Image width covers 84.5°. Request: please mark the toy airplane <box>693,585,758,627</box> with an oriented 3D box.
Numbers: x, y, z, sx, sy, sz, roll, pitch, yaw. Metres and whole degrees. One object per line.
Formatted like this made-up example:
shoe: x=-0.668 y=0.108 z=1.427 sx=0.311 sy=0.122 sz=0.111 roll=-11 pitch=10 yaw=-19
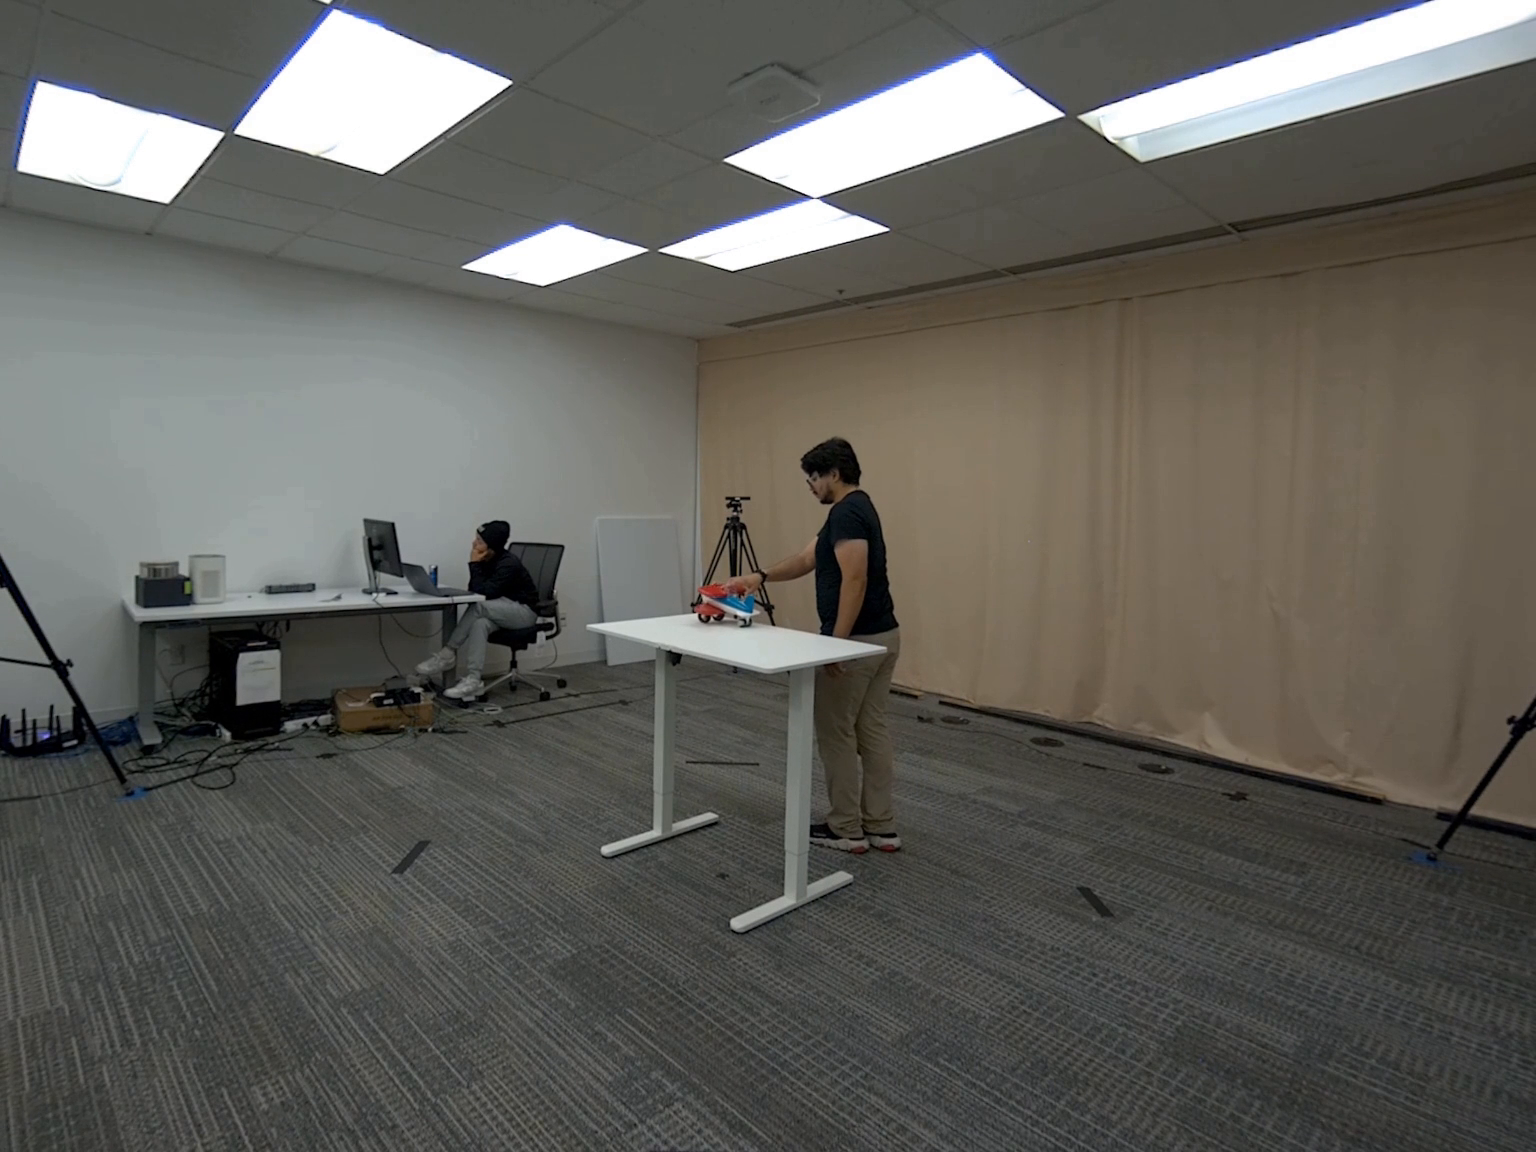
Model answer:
toy airplane: x=-0.157 y=0.115 z=3.399 sx=0.261 sy=0.156 sz=0.250 roll=2 pitch=6 yaw=10
